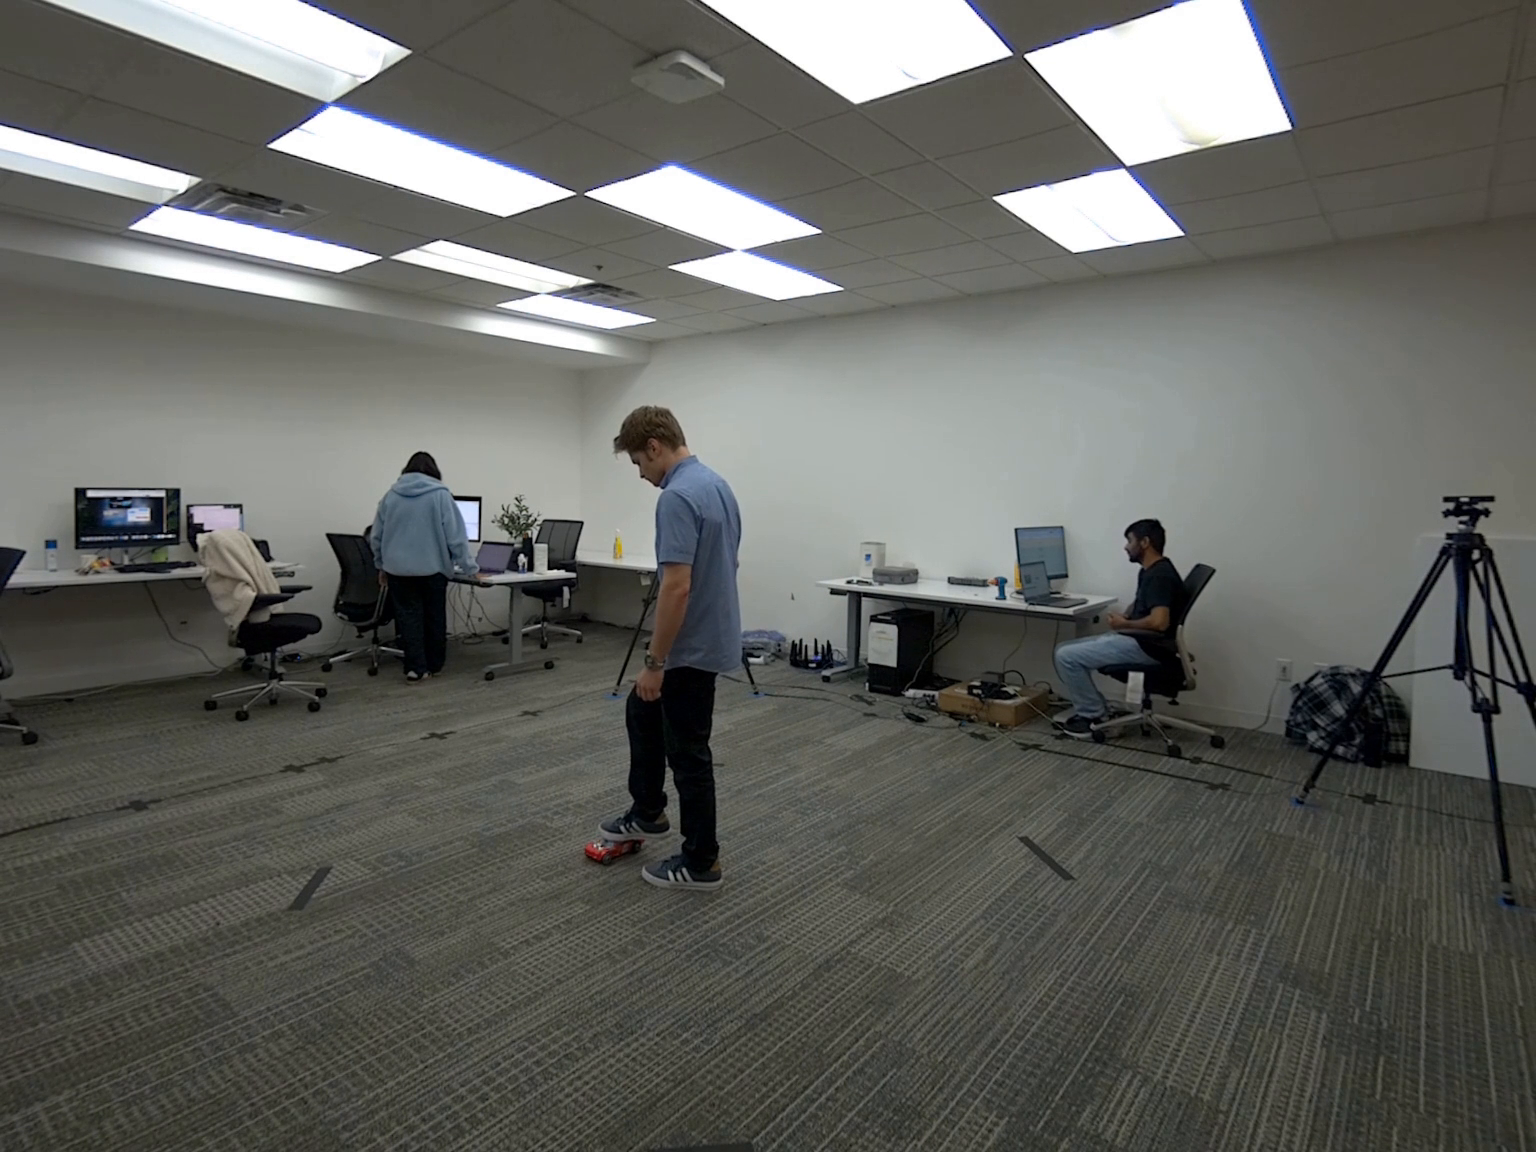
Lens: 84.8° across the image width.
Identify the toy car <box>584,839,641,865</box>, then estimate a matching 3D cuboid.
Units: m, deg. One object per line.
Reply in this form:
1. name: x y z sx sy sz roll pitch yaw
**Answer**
1. toy car: -0.584 1.018 3.239 0.135 0.082 0.249 5 17 43
